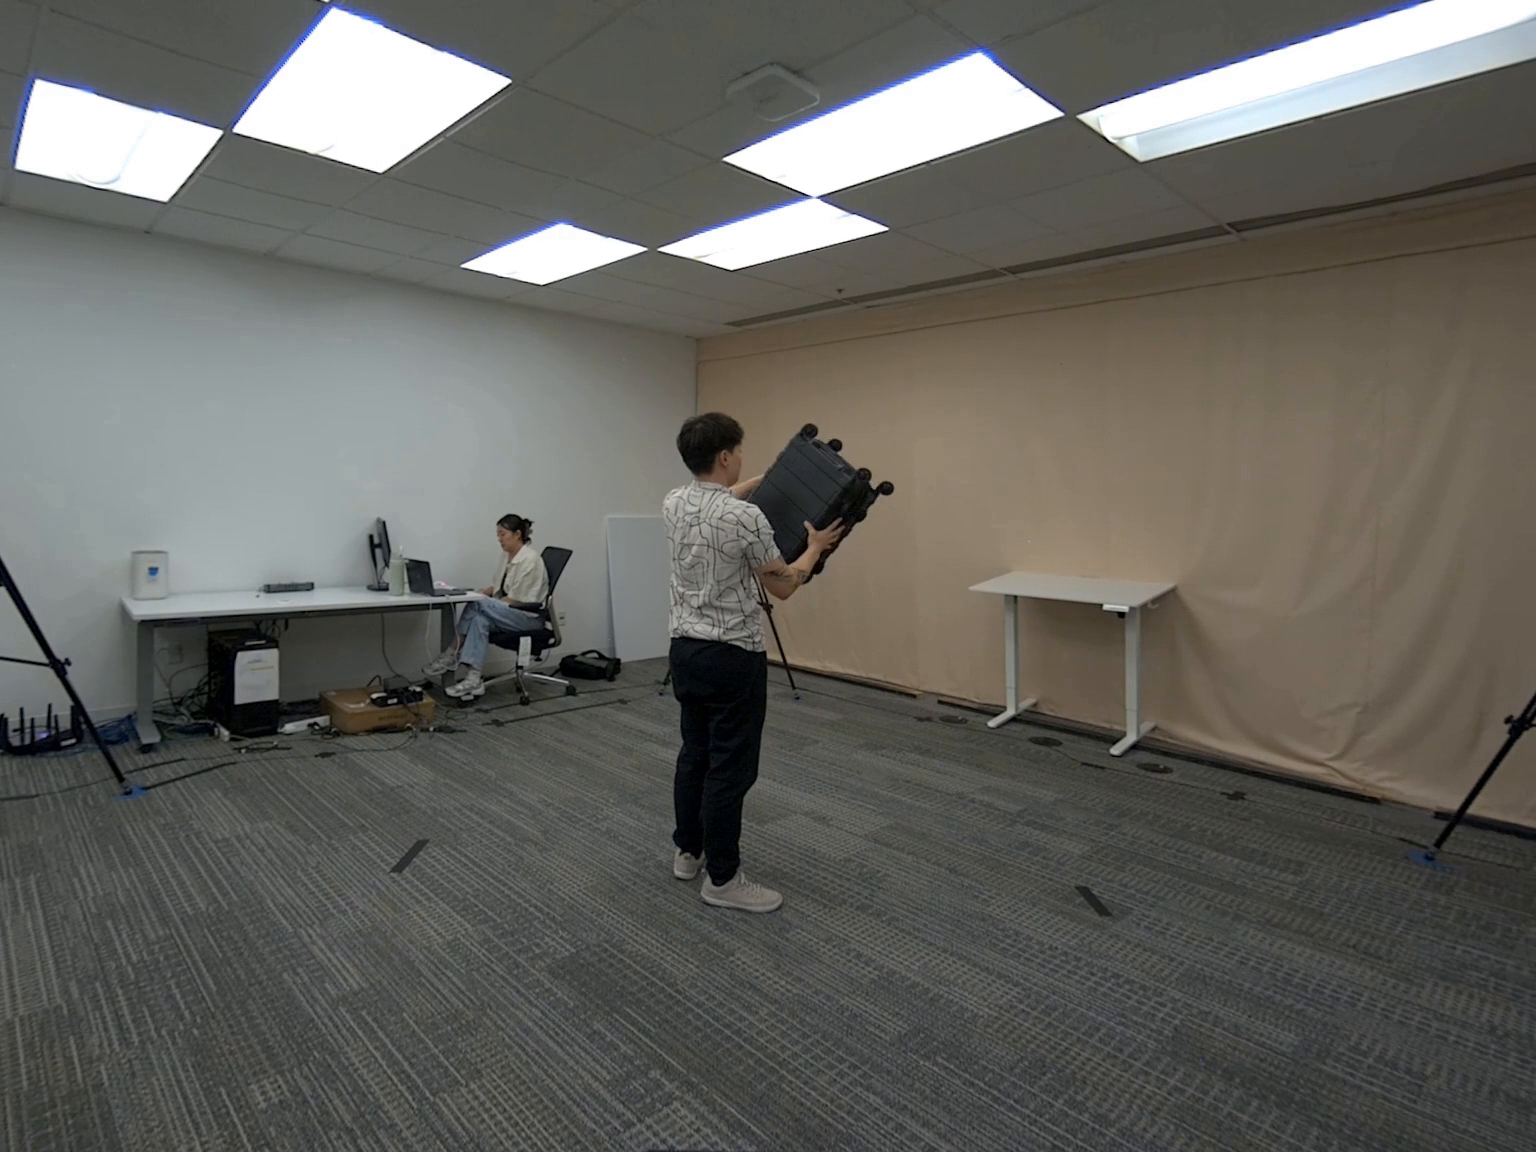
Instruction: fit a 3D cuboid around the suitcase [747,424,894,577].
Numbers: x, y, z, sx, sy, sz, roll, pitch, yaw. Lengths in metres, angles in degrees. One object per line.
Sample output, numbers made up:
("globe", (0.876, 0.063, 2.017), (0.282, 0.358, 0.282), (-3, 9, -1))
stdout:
("suitcase", (0.137, -0.260, 3.213), (0.386, 0.549, 0.242), (47, 16, 29))
